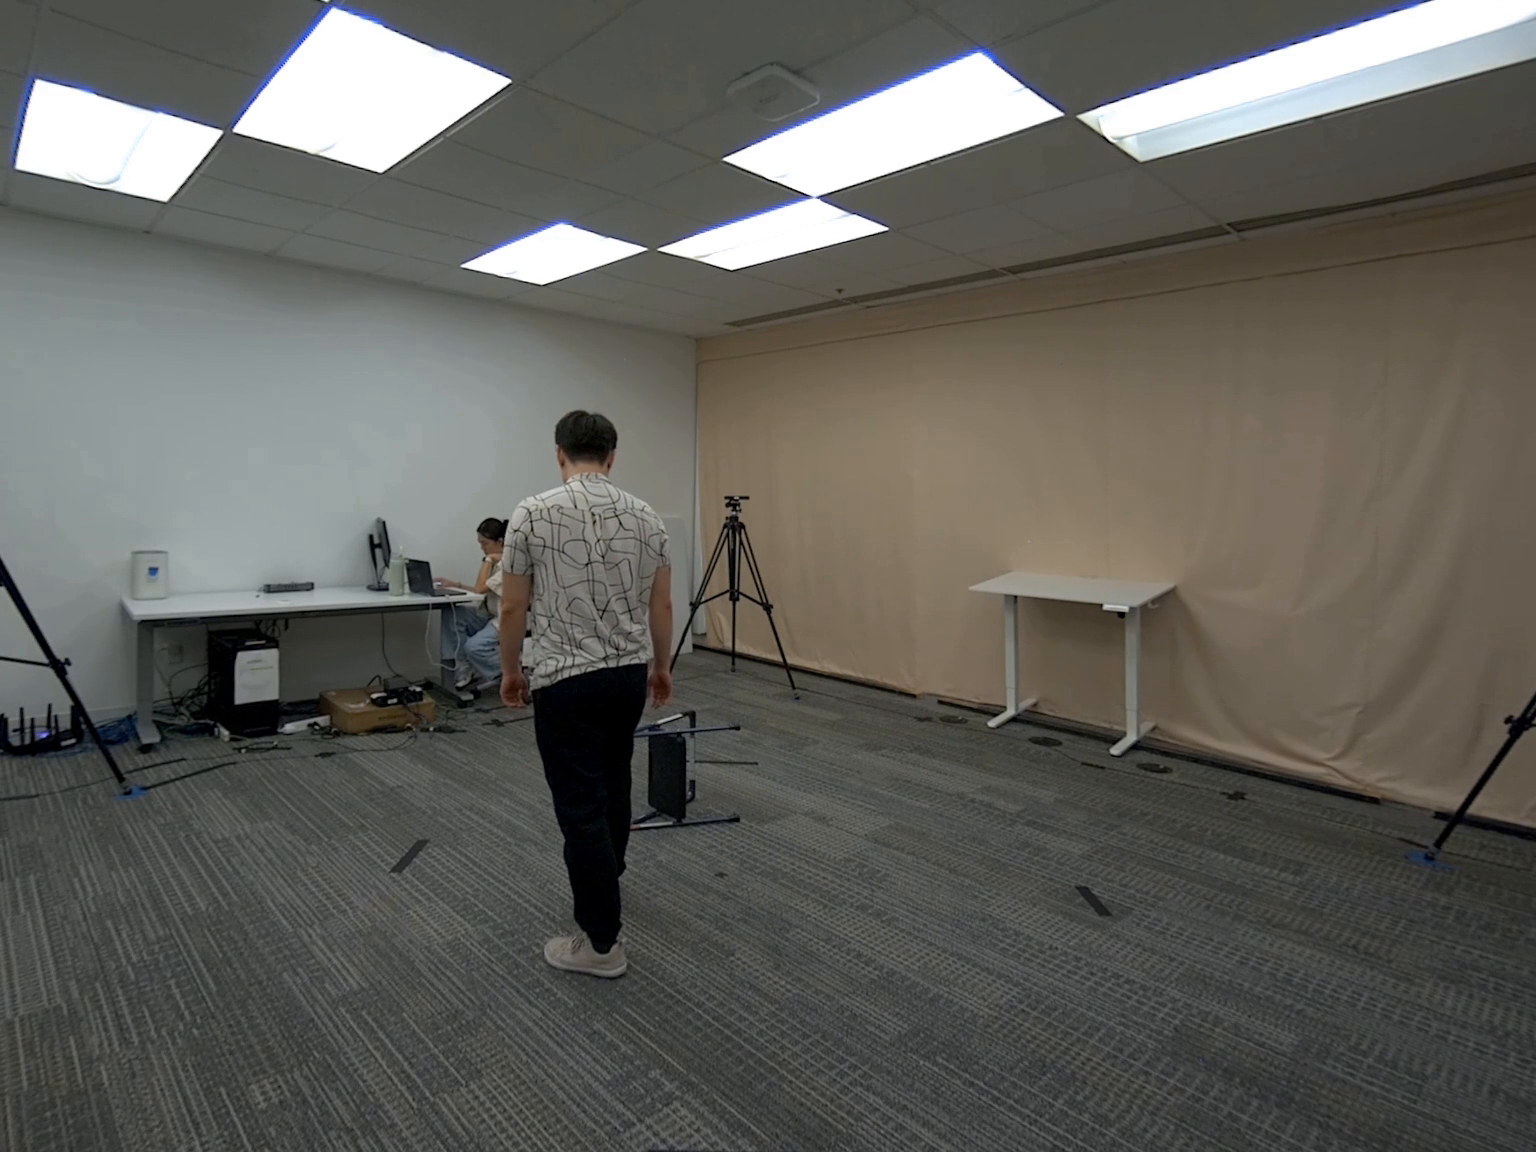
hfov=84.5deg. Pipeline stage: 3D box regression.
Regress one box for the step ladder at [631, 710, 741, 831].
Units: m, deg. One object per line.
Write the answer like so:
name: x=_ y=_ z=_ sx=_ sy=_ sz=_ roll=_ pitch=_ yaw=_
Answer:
step ladder: x=-0.471 y=0.846 z=3.561 sx=0.592 sy=0.430 sz=0.358 roll=-2 pitch=4 yaw=-39
